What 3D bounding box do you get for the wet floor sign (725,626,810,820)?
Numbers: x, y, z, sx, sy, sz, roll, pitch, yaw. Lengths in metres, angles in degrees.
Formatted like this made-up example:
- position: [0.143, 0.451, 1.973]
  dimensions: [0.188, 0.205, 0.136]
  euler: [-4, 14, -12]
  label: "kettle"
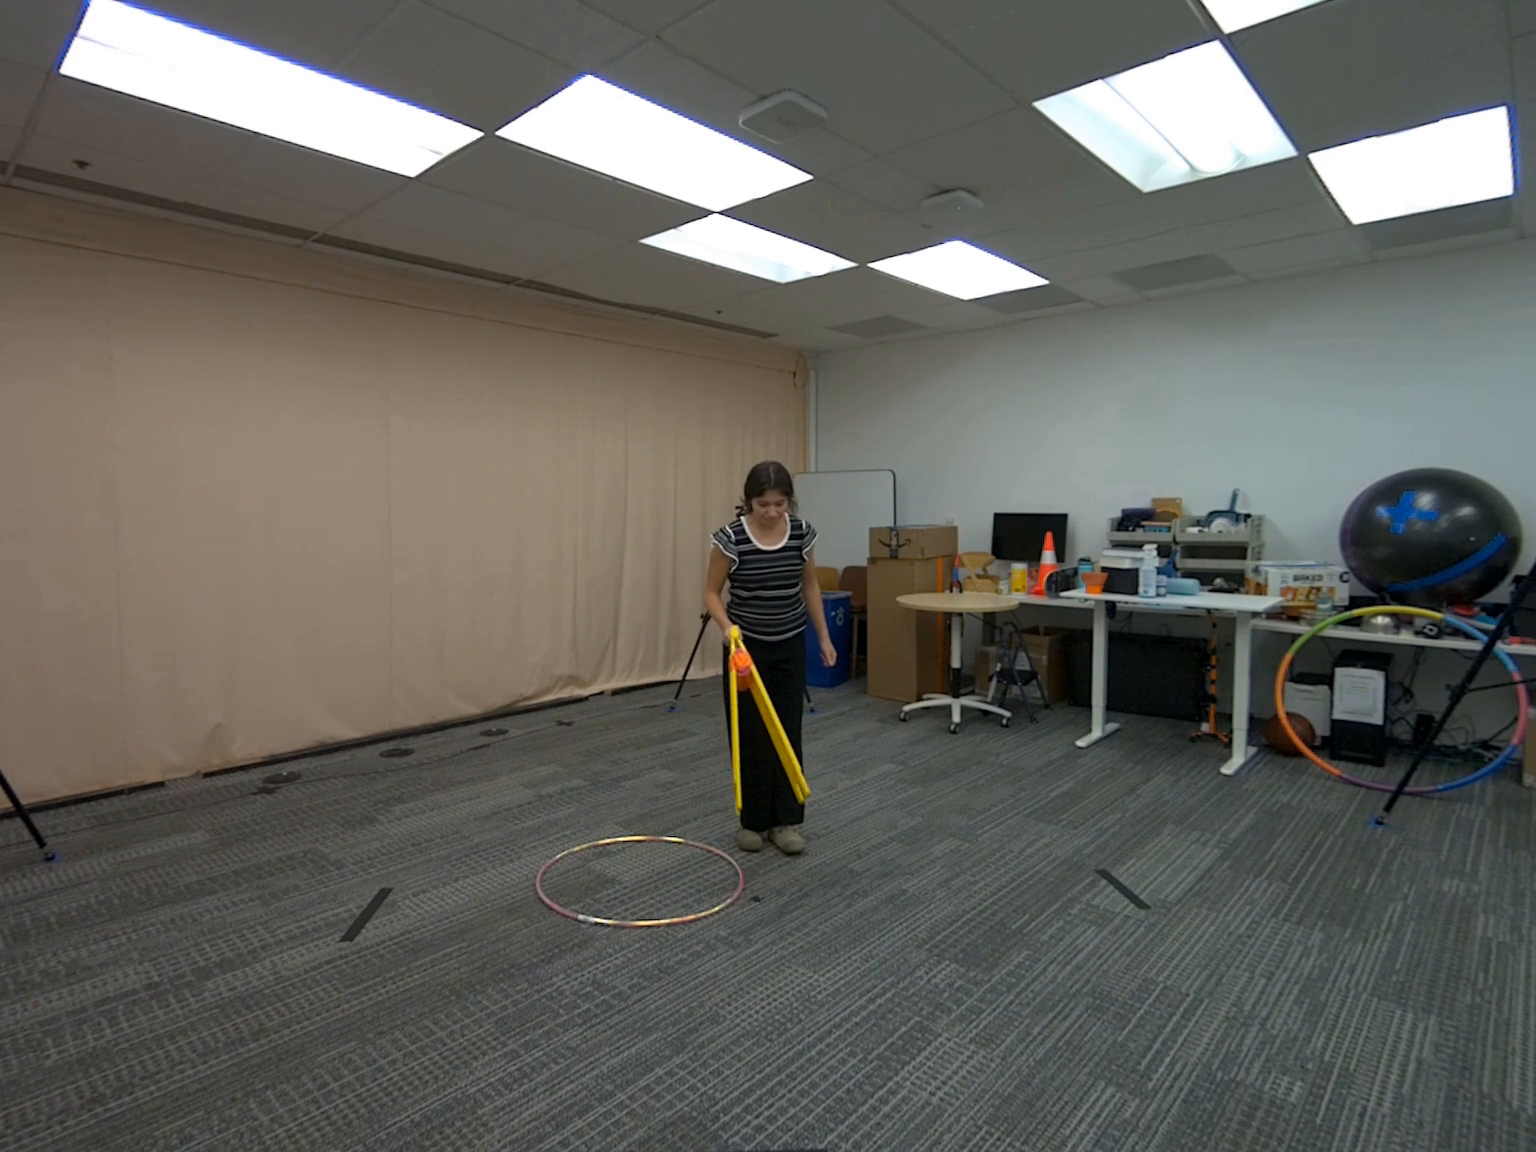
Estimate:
- position: [-0.071, 0.518, 3.089]
  dimensions: [0.288, 0.656, 0.280]
  euler: [-10, -19, -7]
  label: "wet floor sign"
